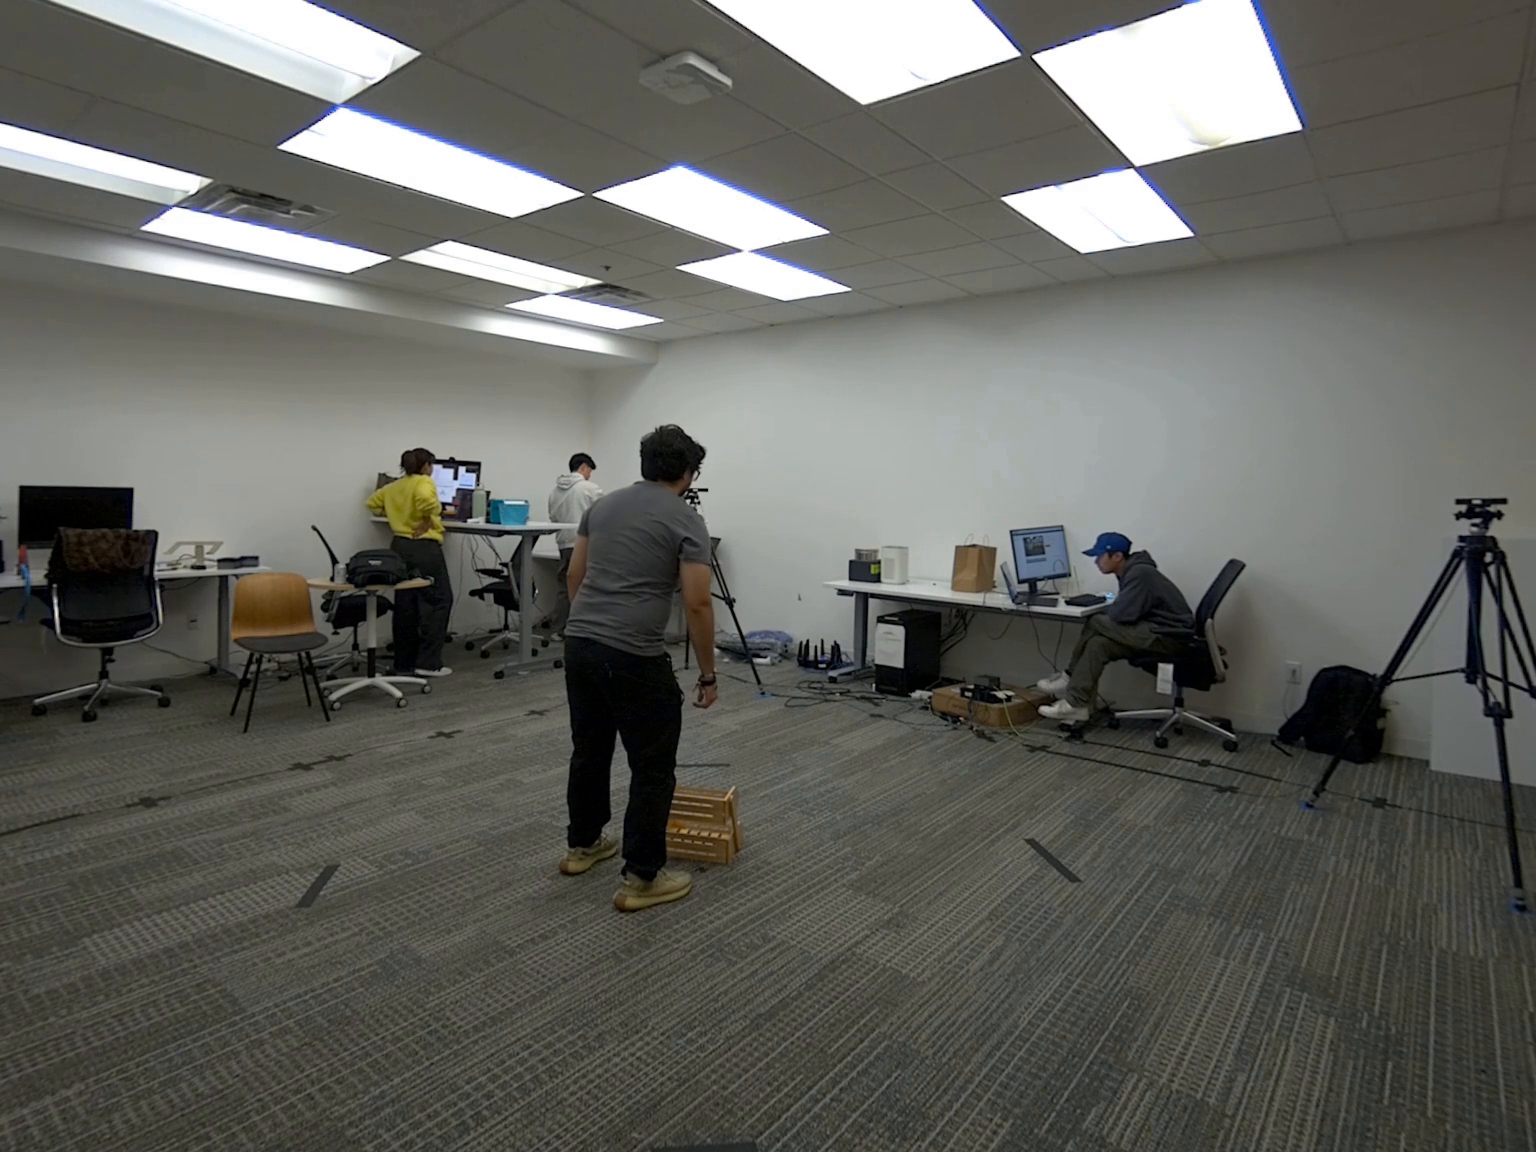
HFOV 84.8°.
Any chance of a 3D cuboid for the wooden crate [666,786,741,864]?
[{"bbox_3d":[-0.281,0.922,3.293,0.329,0.272,0.299,1,4,12],"label":"wooden crate"}]
